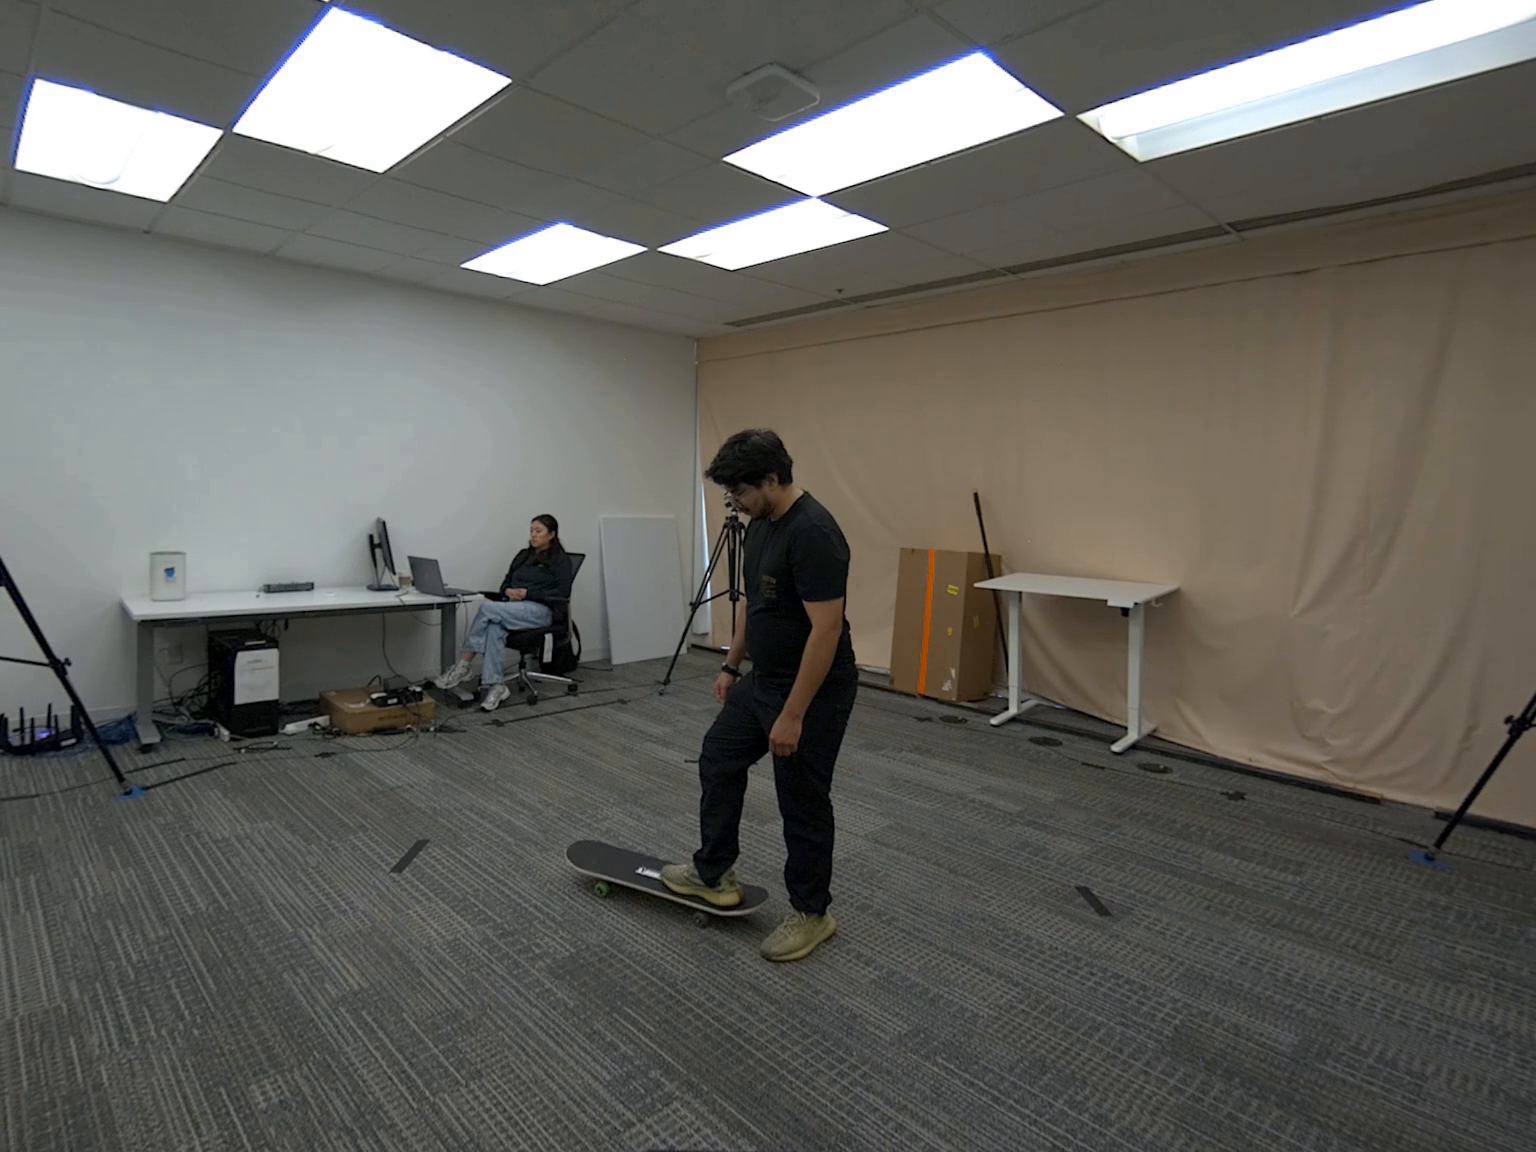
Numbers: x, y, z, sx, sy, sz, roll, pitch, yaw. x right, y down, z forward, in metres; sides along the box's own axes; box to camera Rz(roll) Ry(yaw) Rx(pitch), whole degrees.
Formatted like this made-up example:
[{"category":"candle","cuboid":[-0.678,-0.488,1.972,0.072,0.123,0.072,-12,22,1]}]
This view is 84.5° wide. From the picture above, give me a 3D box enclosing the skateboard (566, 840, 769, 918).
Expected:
[{"category":"skateboard","cuboid":[-0.370,1.066,2.884,0.802,0.110,0.190,5,10,27]}]
